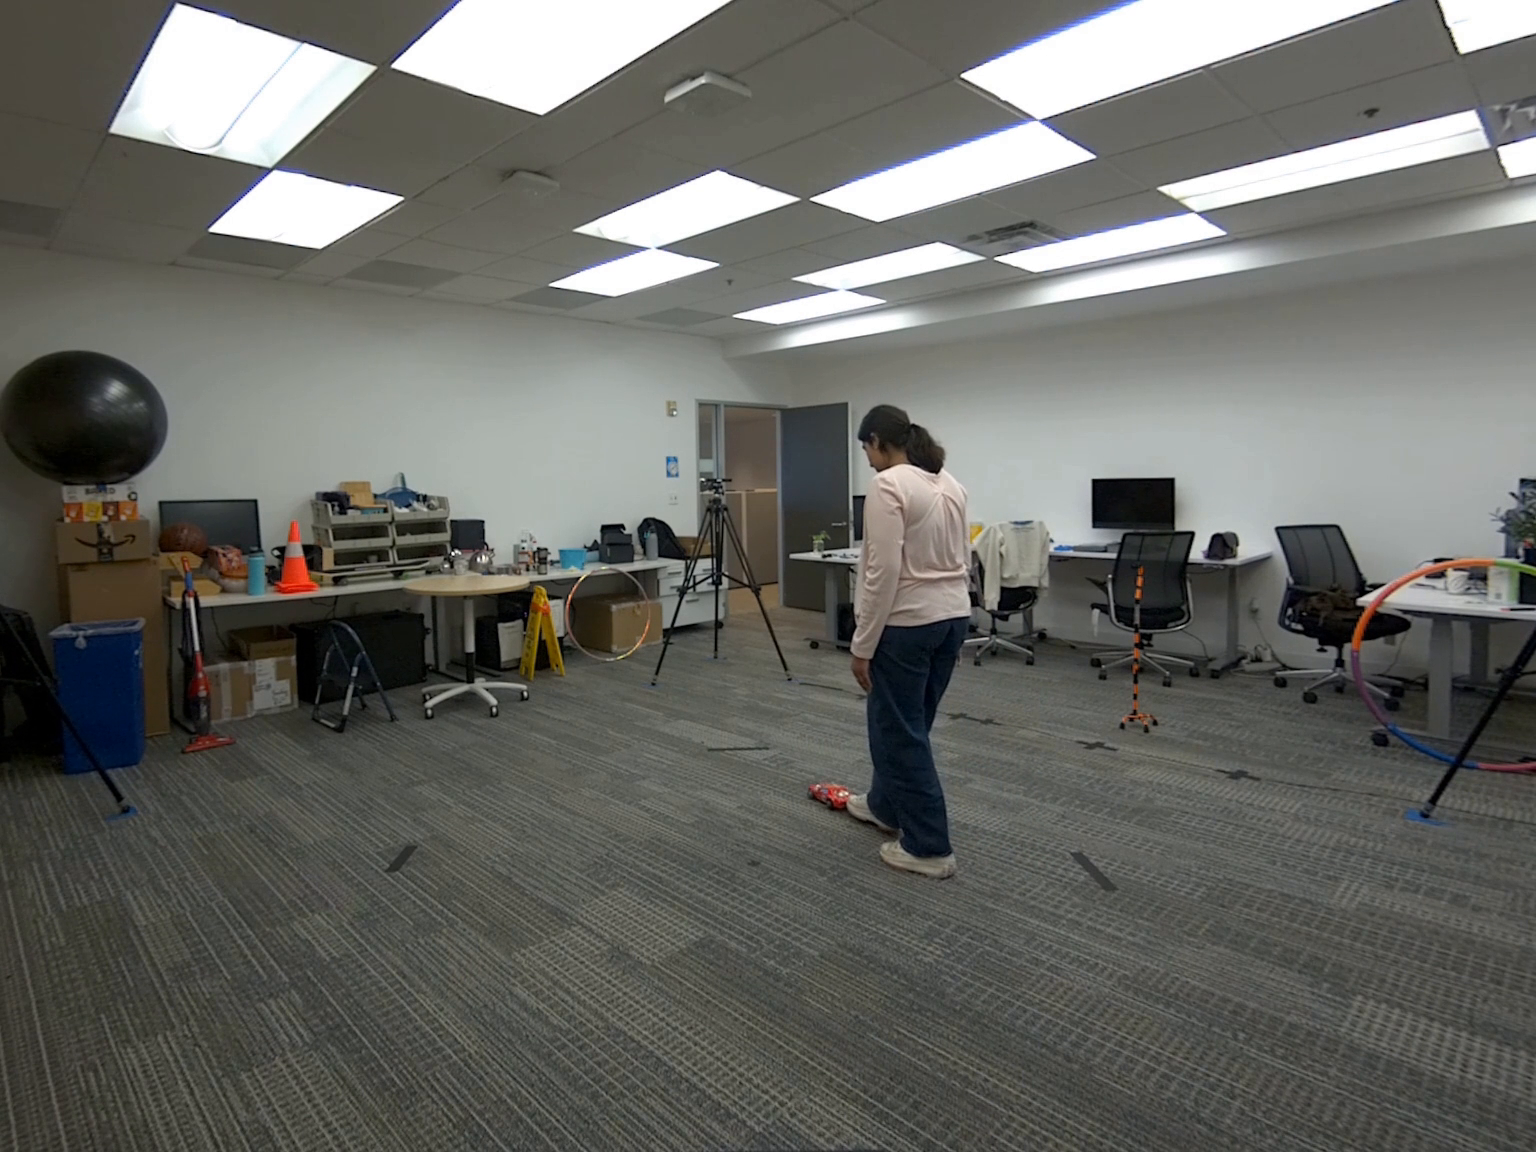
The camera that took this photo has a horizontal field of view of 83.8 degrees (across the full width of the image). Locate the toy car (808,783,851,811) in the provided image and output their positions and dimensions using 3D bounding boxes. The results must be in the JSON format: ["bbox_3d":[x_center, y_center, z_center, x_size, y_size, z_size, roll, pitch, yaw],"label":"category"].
[{"bbox_3d":[0.281,0.941,3.660,0.127,0.084,0.259,-3,-5,-29],"label":"toy car"}]
